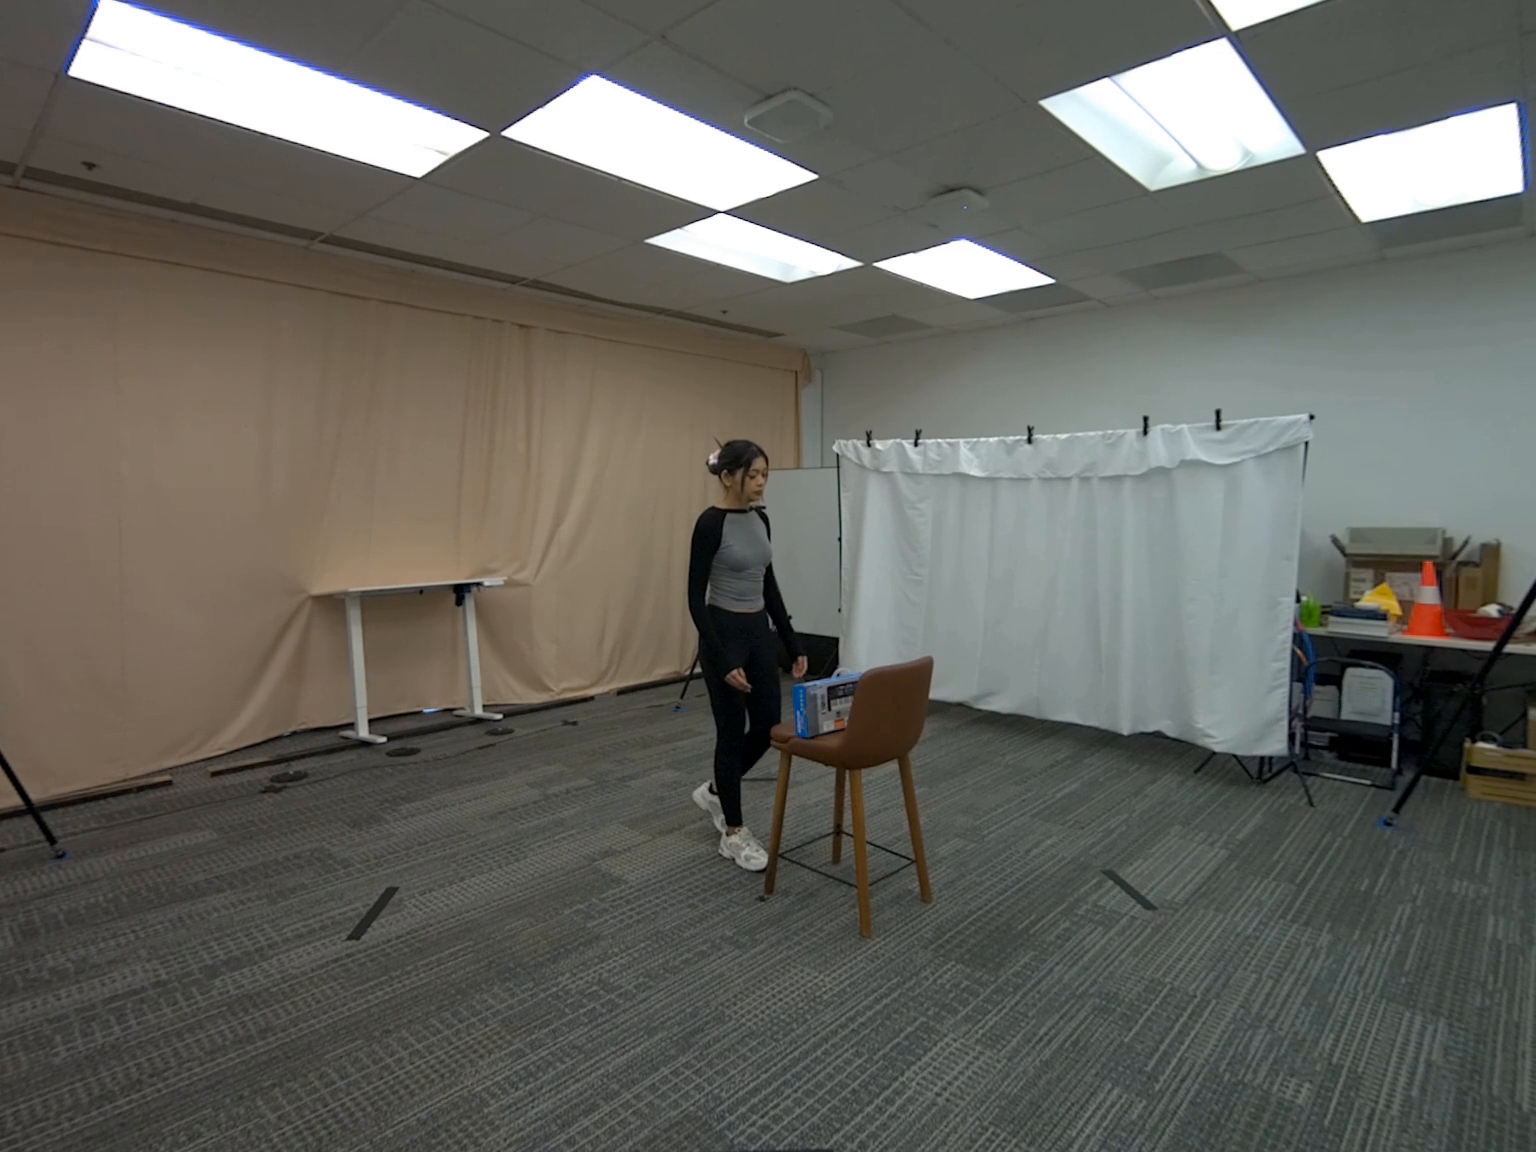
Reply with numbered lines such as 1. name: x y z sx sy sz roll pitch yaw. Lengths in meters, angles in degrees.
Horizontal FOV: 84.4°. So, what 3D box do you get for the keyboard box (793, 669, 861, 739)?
1. keyboard box: 0.274 0.443 2.967 0.423 0.176 0.061 -4 -1 -40
